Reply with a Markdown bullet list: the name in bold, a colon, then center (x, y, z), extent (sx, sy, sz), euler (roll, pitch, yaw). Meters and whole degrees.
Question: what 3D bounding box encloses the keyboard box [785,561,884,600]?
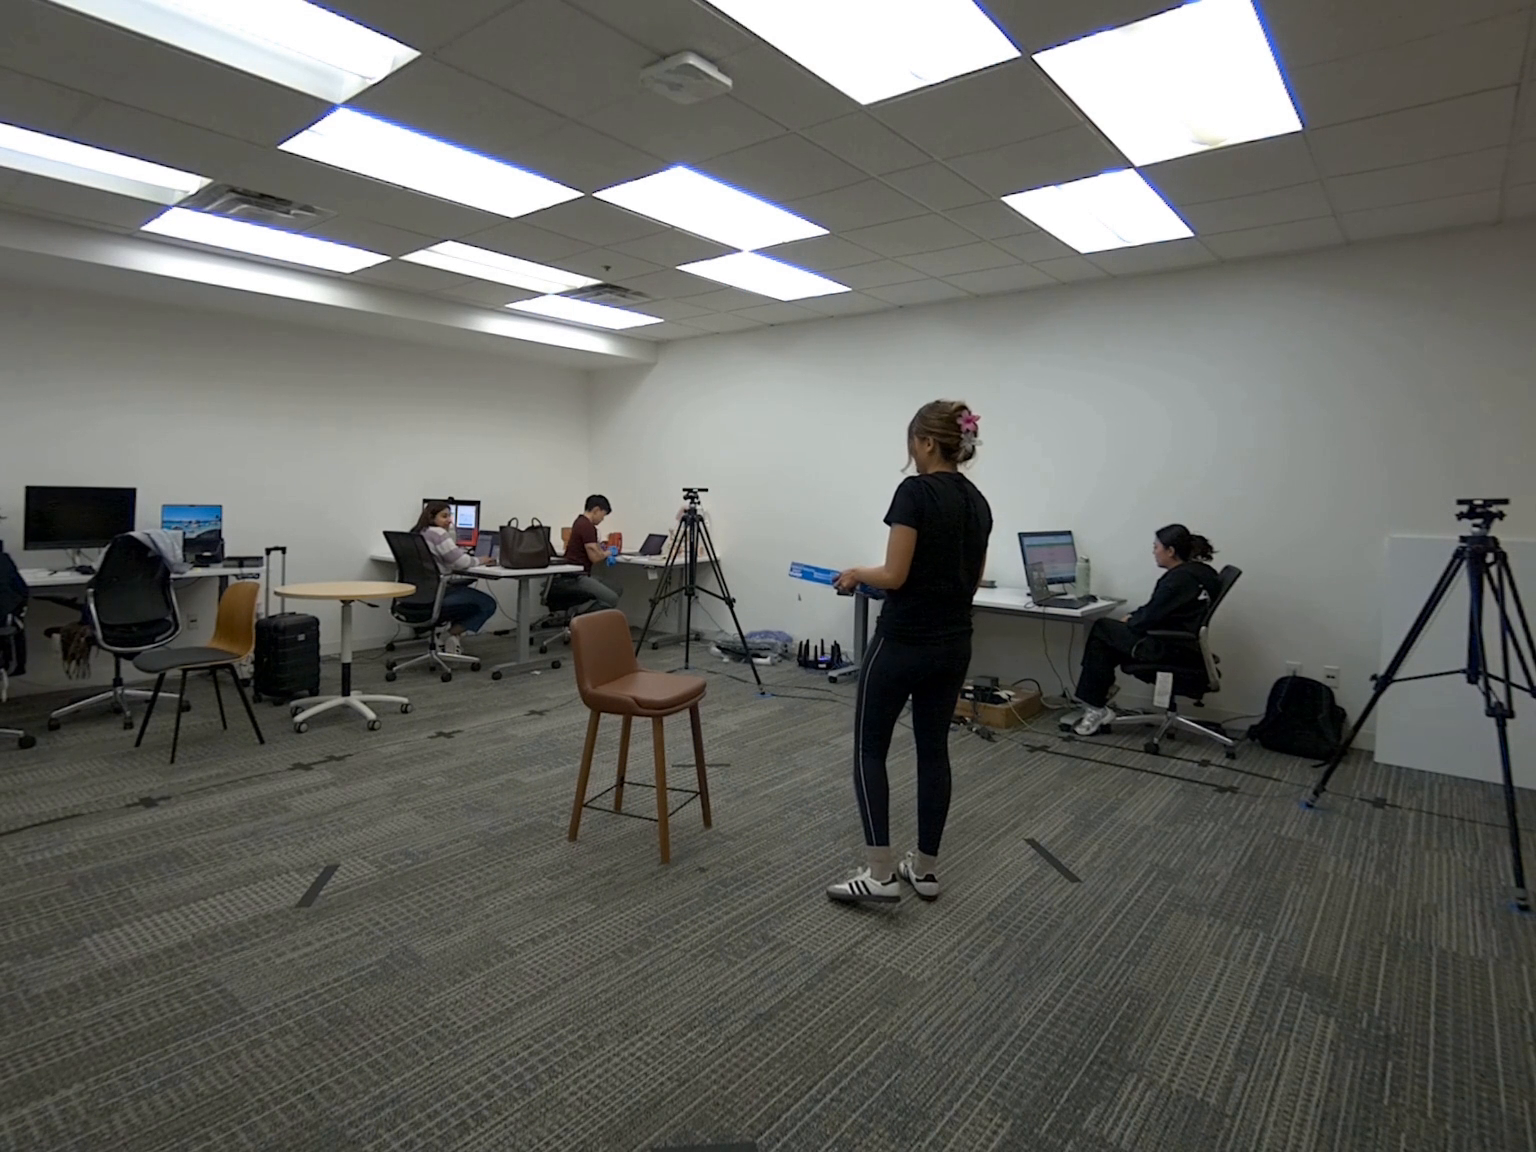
- **keyboard box**: center (0.268, 0.017, 3.272), extent (0.170, 0.059, 0.452), euler (14, 0, -34)
